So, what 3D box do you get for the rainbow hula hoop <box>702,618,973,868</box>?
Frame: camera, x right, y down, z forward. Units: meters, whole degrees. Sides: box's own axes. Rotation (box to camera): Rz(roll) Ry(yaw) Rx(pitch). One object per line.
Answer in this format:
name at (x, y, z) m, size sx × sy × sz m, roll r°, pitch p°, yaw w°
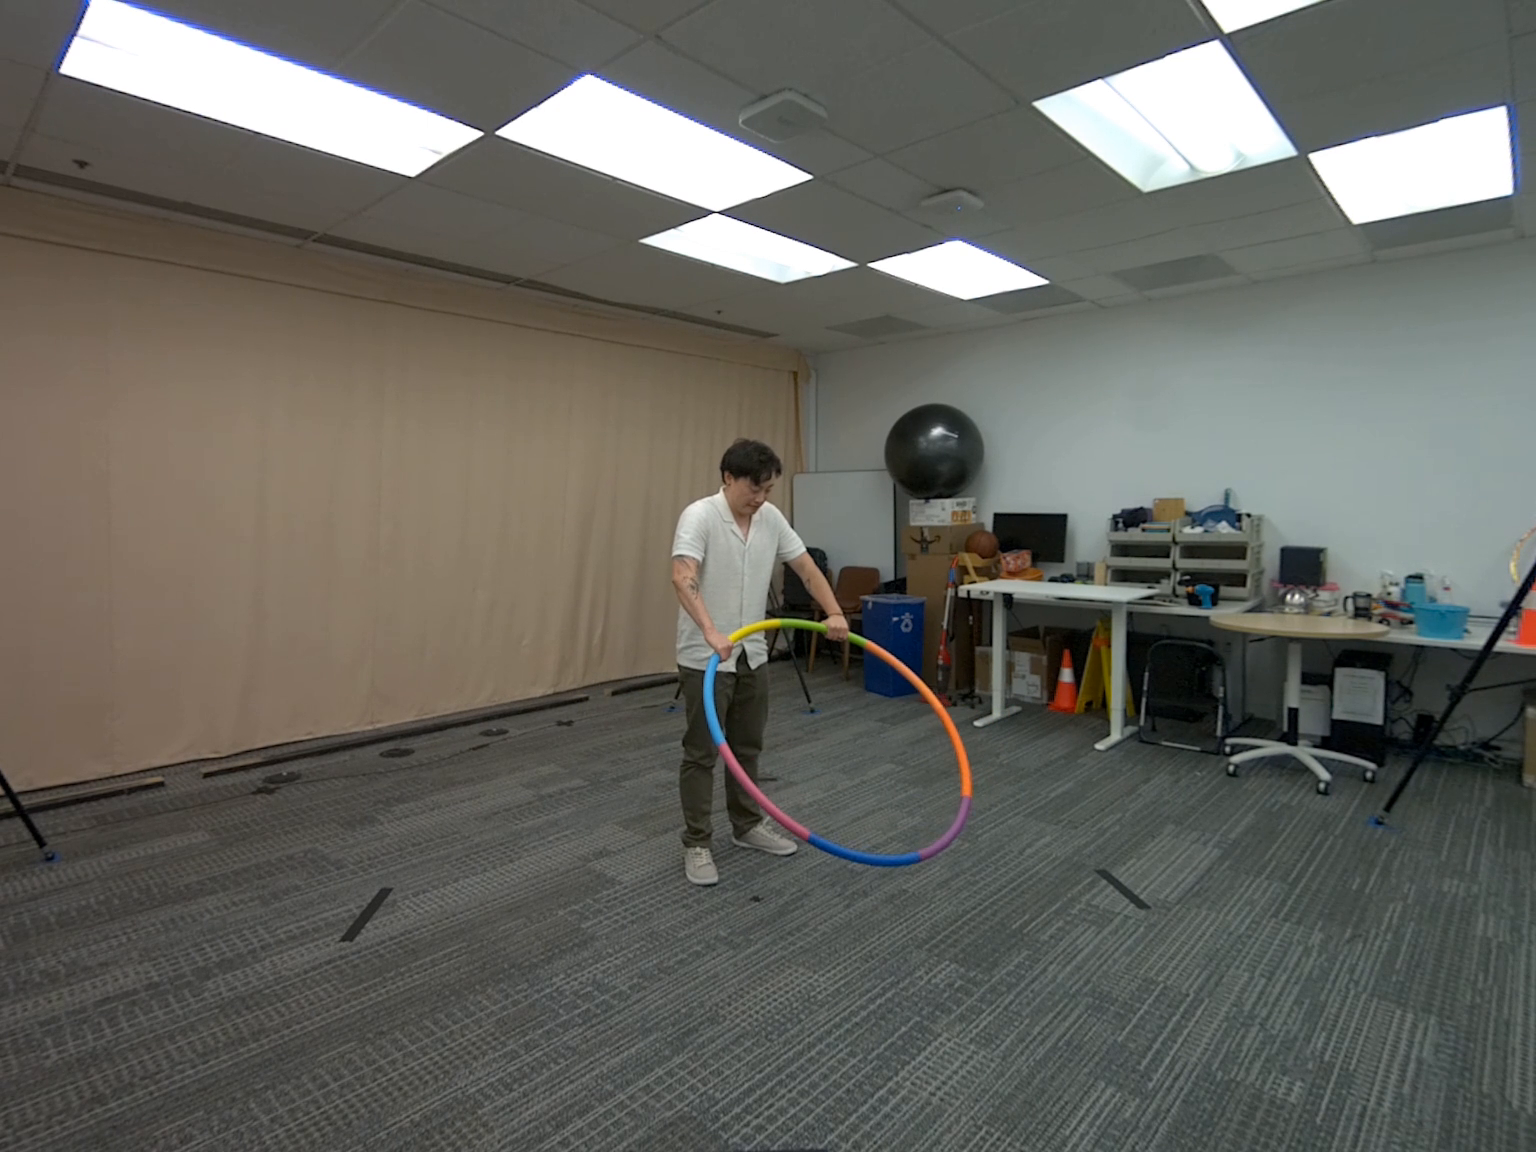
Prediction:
rainbow hula hoop at (0.262, 0.515, 2.813) m, size 0.962 × 0.035 × 0.997 m, roll 16°, pitch 37°, yaw -15°
